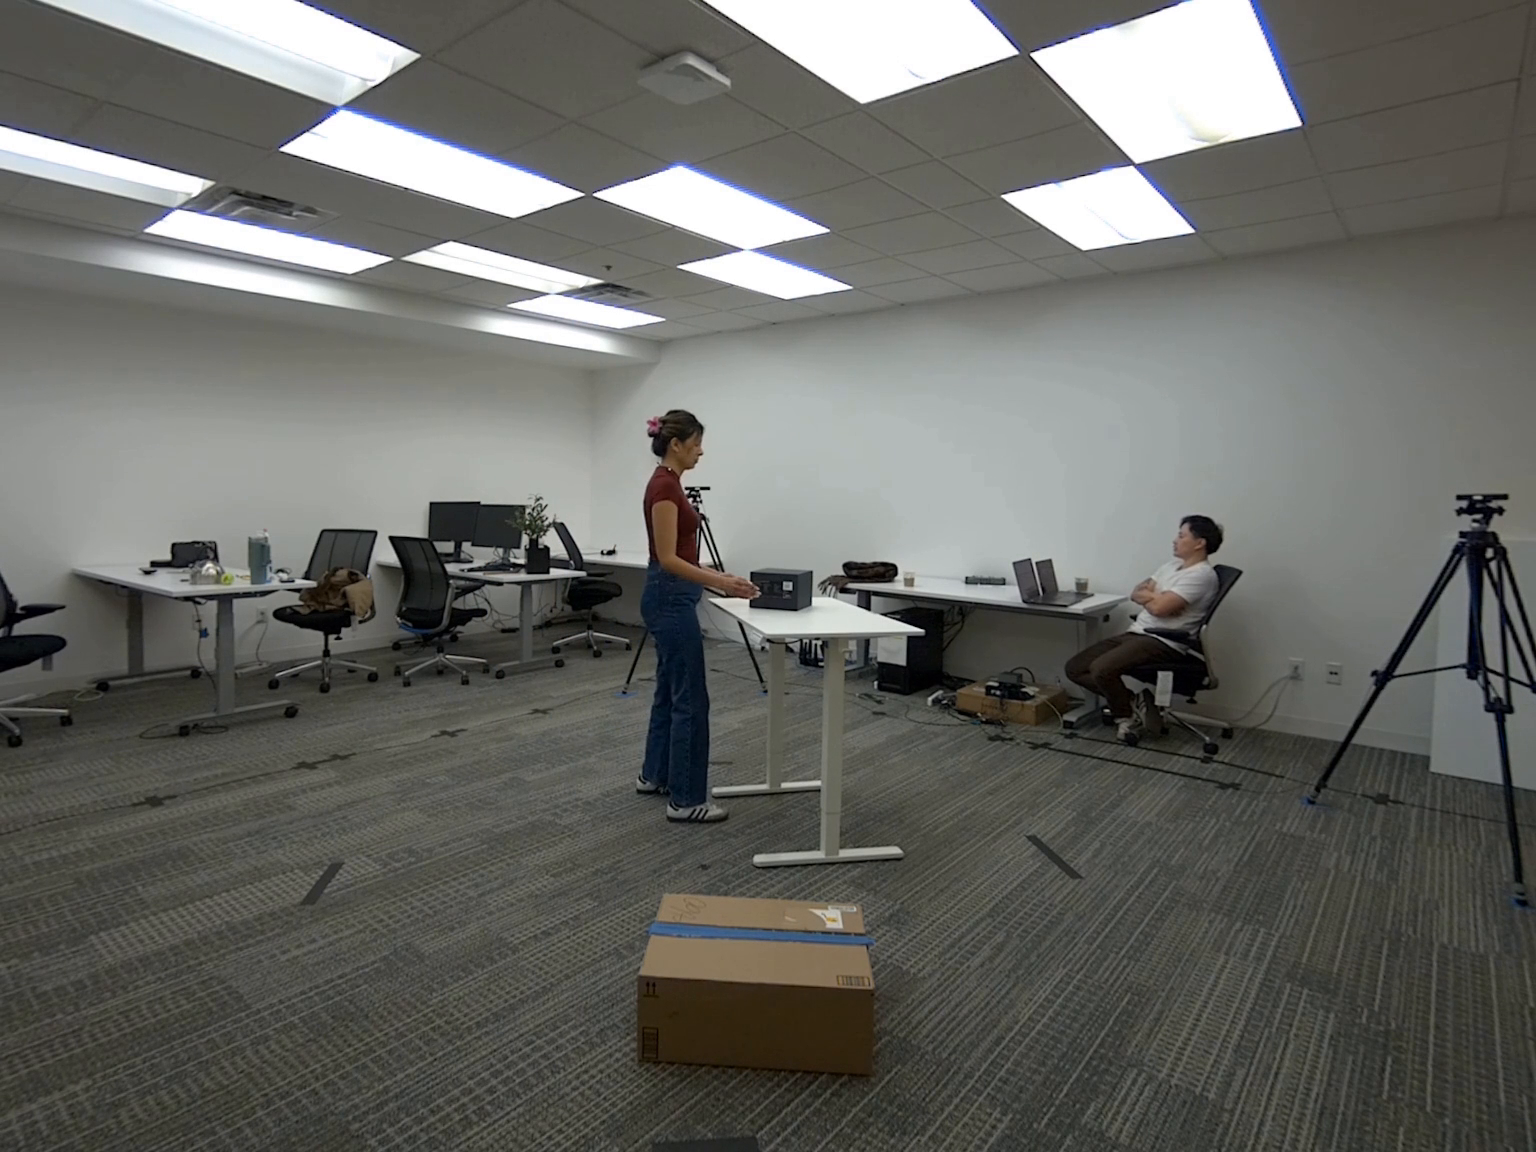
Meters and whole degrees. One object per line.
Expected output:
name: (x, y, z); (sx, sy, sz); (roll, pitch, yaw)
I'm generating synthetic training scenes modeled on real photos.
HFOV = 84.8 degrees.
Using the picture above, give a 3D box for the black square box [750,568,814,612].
black square box: (0.050, 0.051, 3.689); (0.222, 0.155, 0.224); (3, 5, 21)
